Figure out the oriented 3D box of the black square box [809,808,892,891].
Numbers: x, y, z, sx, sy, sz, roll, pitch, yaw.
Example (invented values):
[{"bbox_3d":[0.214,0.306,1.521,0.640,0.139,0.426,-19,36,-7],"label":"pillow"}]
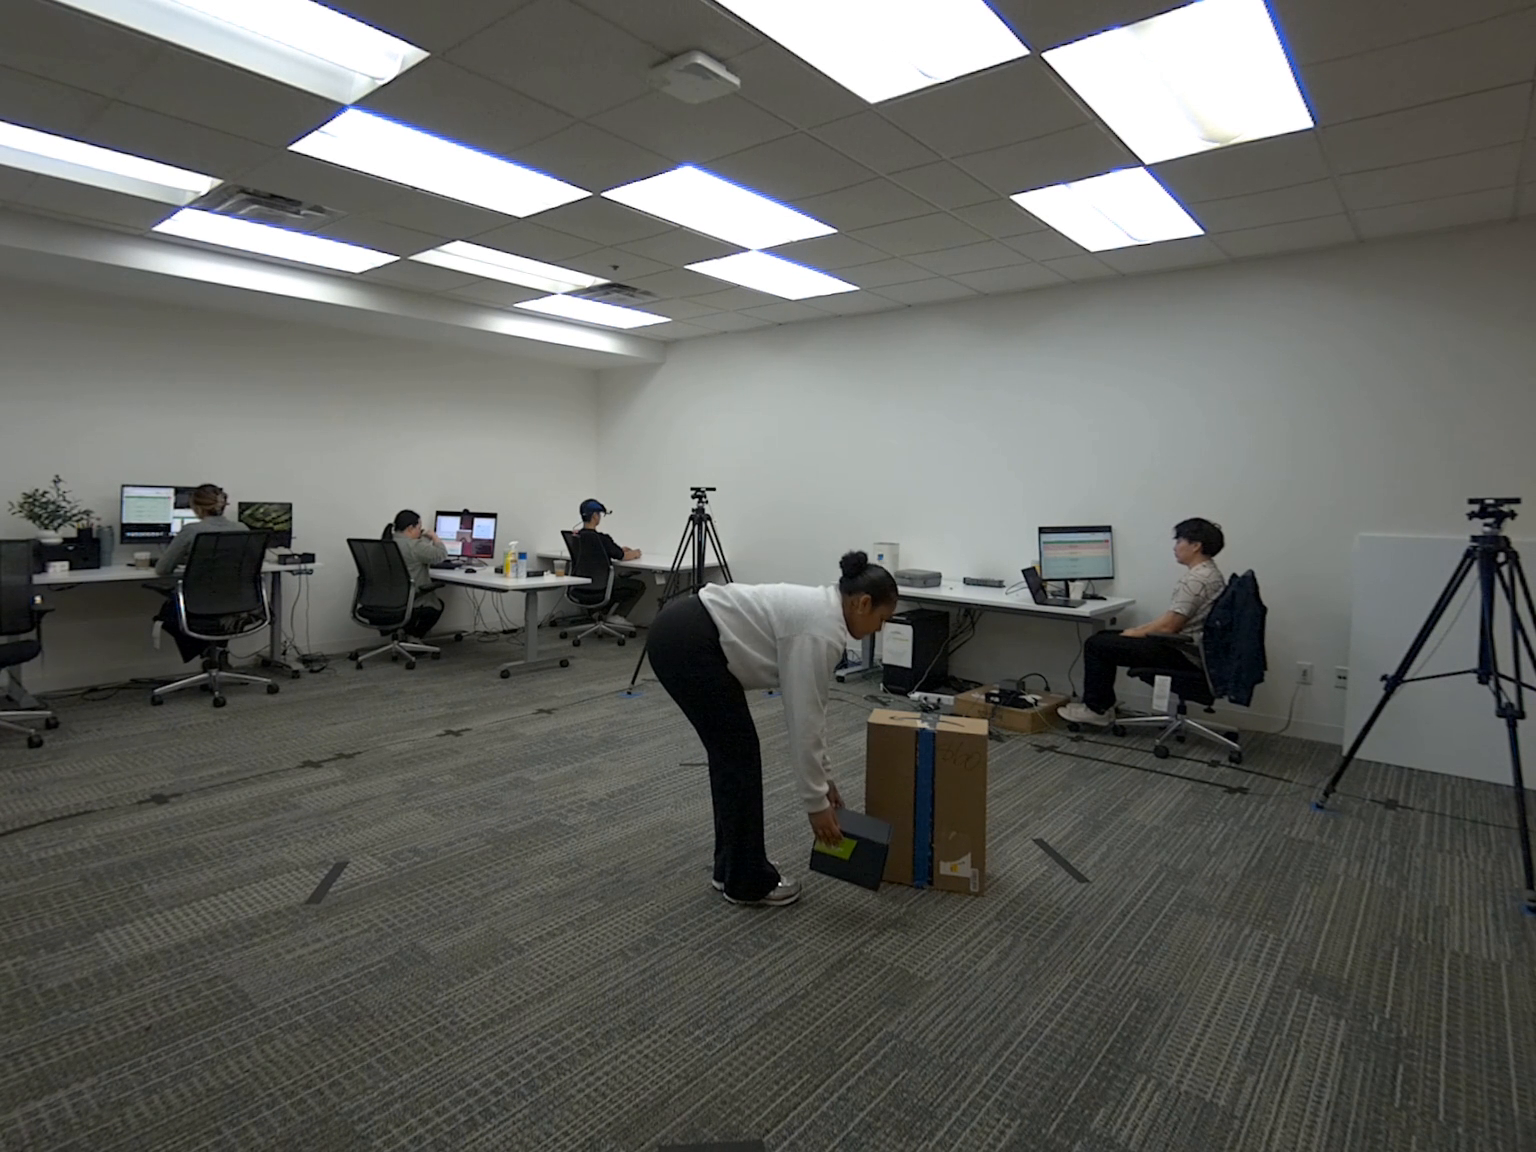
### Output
[{"bbox_3d":[0.267,0.872,2.781,0.231,0.155,0.214,12,5,12],"label":"black square box"}]
